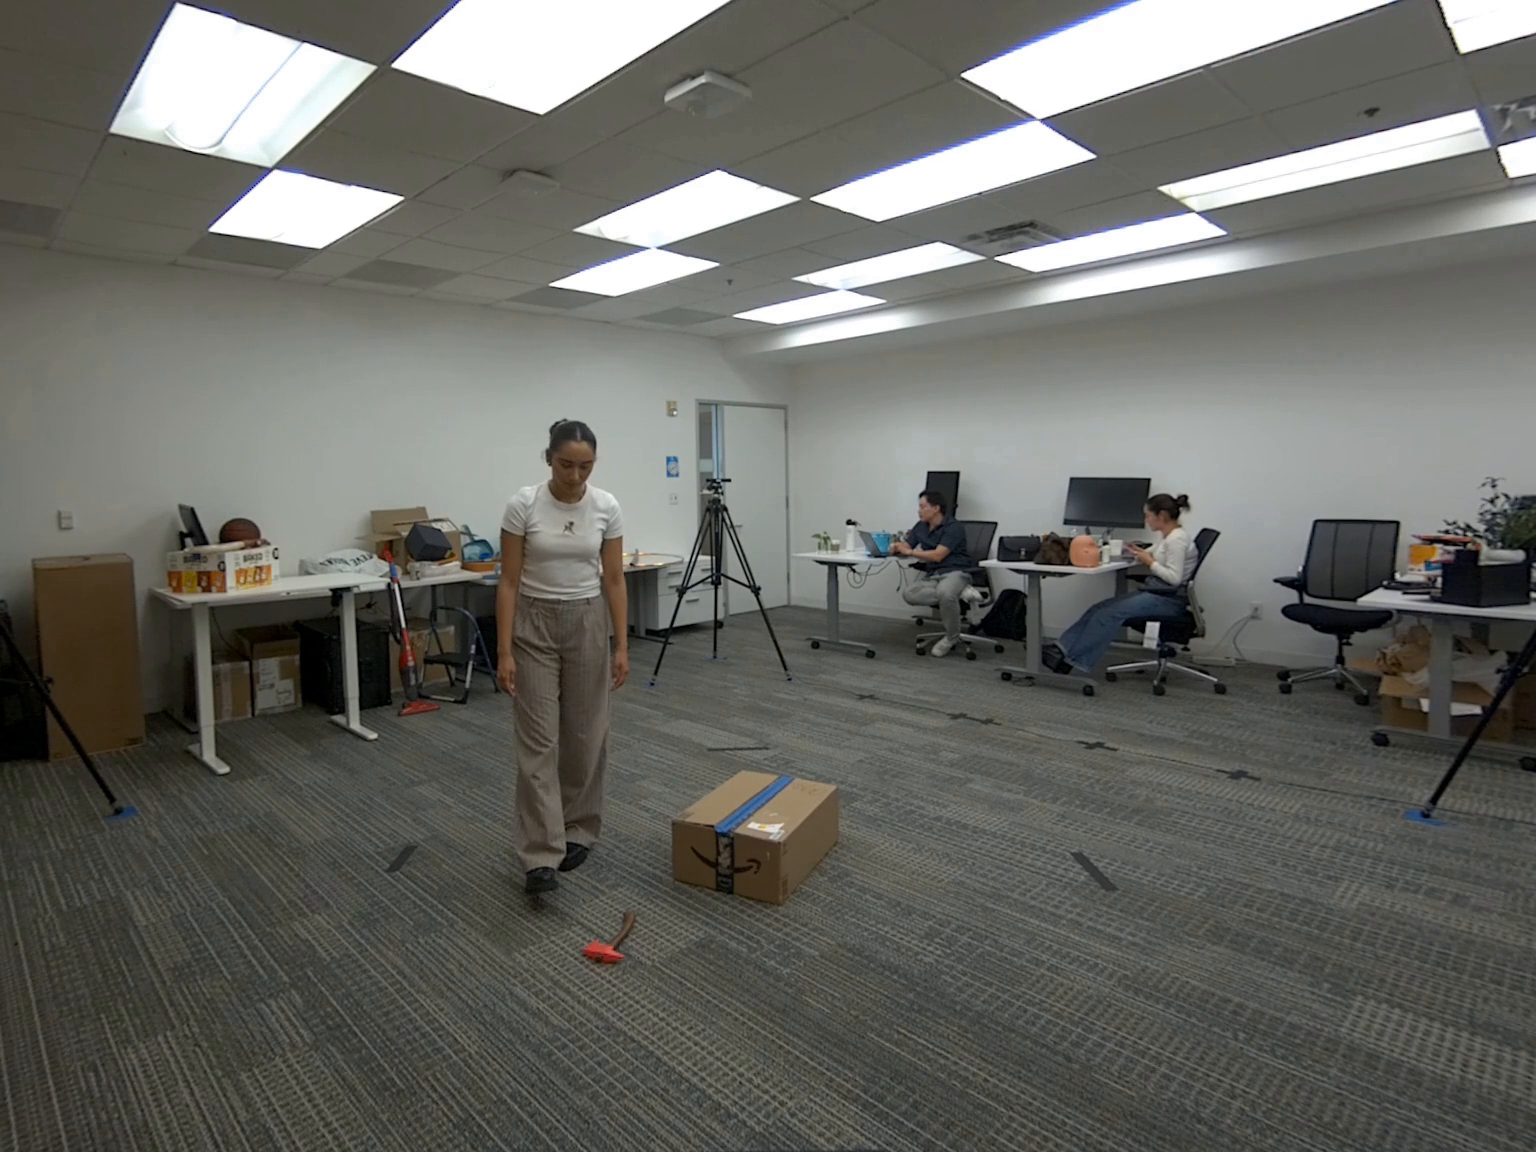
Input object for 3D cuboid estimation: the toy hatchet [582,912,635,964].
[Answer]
[{"bbox_3d":[-0.482,1.100,2.611,0.131,0.029,0.270,-4,4,0],"label":"toy hatchet"}]
